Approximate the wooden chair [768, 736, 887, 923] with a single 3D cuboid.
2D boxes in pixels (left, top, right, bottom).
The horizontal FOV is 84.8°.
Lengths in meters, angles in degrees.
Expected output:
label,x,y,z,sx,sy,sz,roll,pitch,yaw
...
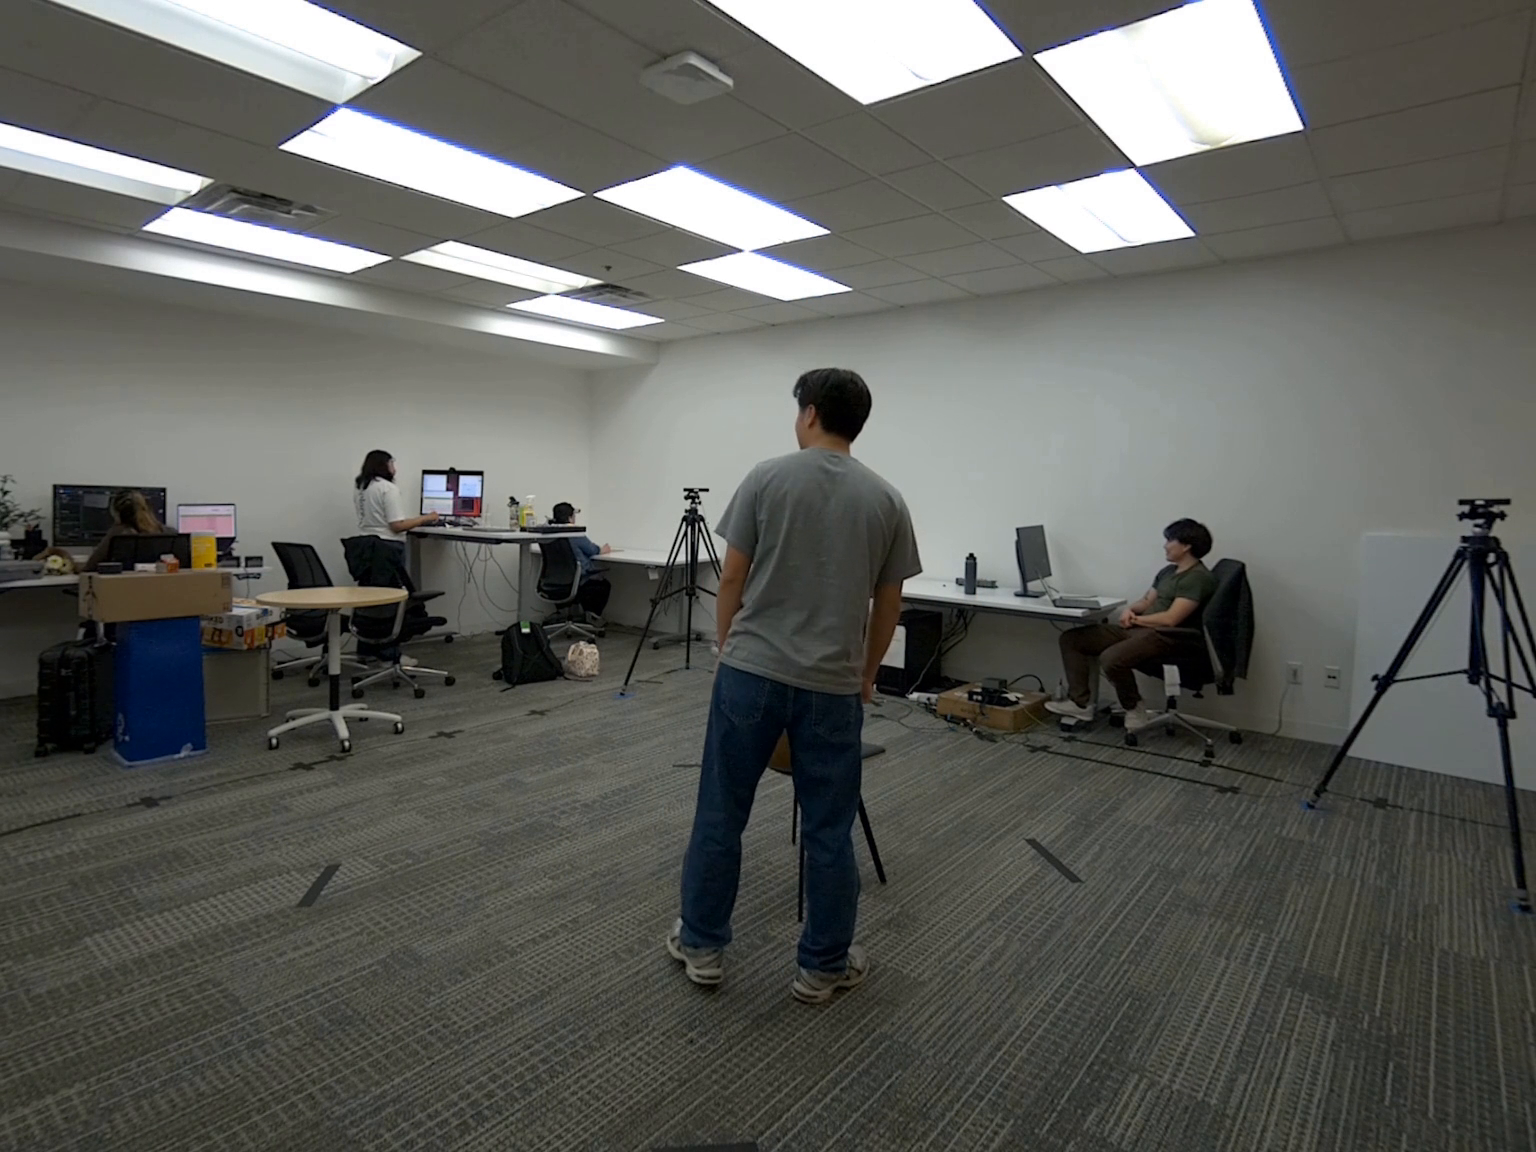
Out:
label,x,y,z,sx,sy,sz,roll,pitch,yaw
wooden chair,0.104,0.654,3.033,0.509,0.872,0.494,-8,8,-44
